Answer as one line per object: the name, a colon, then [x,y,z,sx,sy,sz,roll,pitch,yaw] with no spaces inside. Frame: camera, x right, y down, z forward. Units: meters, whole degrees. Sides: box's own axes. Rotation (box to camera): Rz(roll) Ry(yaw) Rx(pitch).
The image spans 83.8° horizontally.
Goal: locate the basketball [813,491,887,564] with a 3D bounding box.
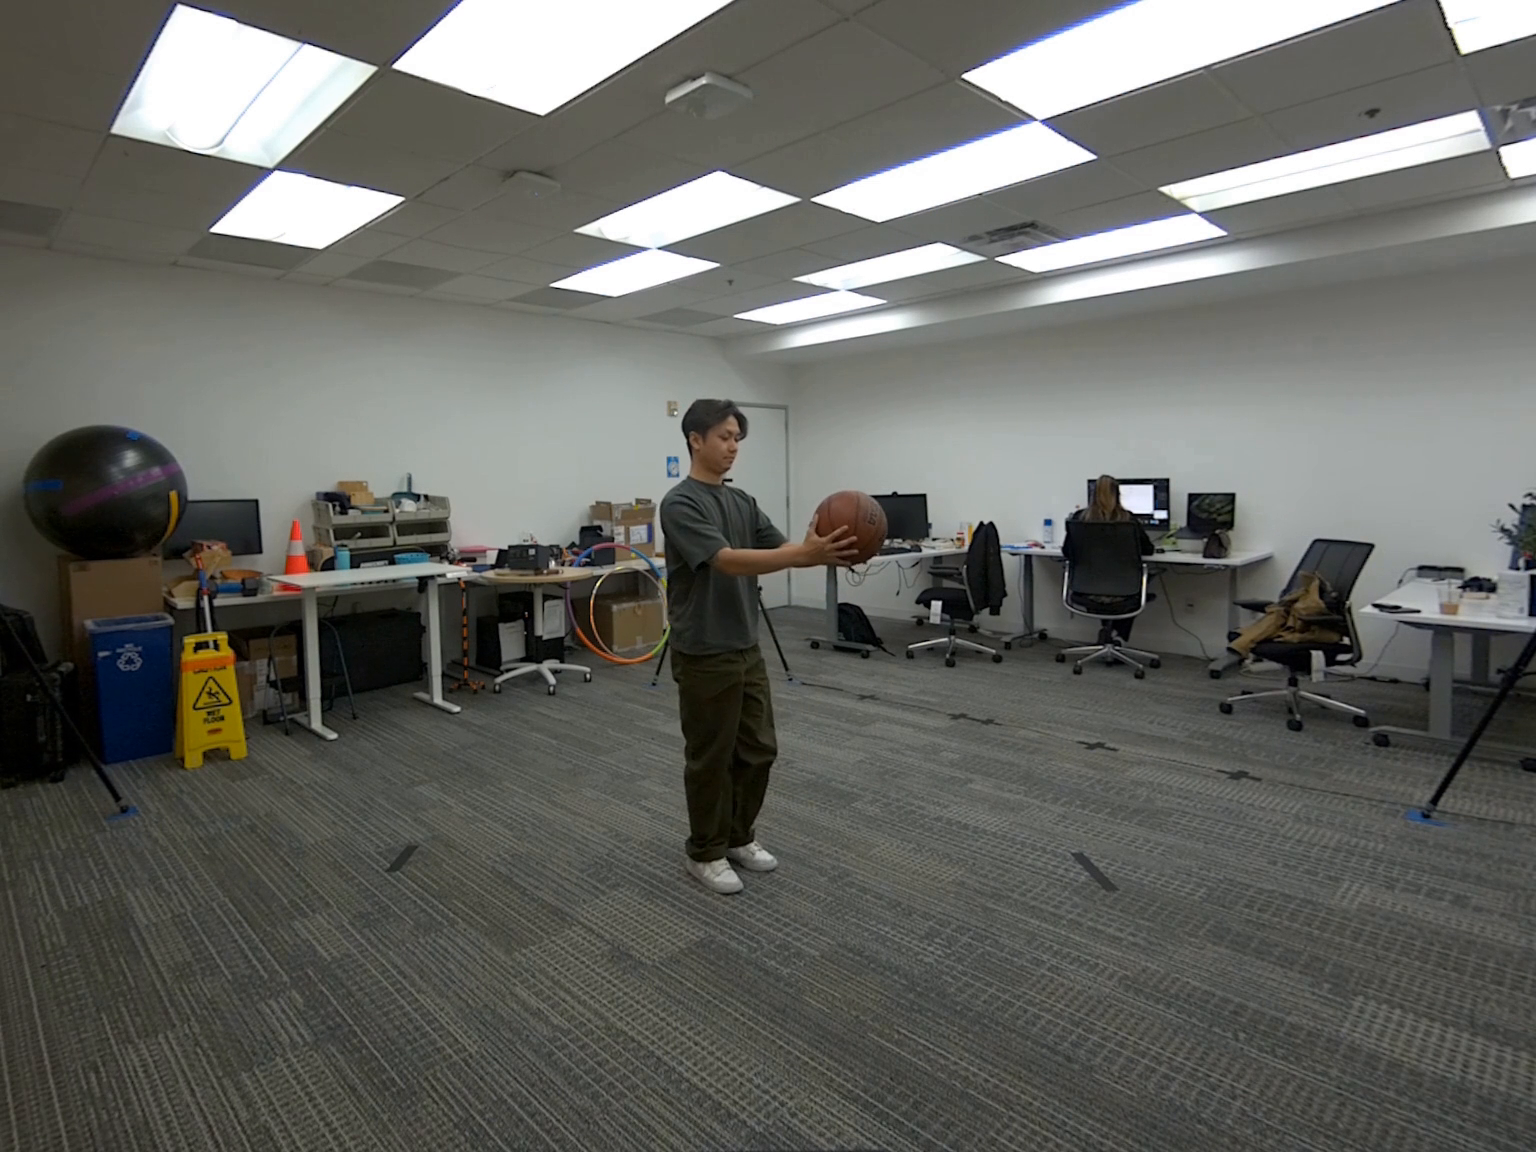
basketball: [0.255,-0.148,2.723,0.236,0.235,0.237,-1,5,-2]
